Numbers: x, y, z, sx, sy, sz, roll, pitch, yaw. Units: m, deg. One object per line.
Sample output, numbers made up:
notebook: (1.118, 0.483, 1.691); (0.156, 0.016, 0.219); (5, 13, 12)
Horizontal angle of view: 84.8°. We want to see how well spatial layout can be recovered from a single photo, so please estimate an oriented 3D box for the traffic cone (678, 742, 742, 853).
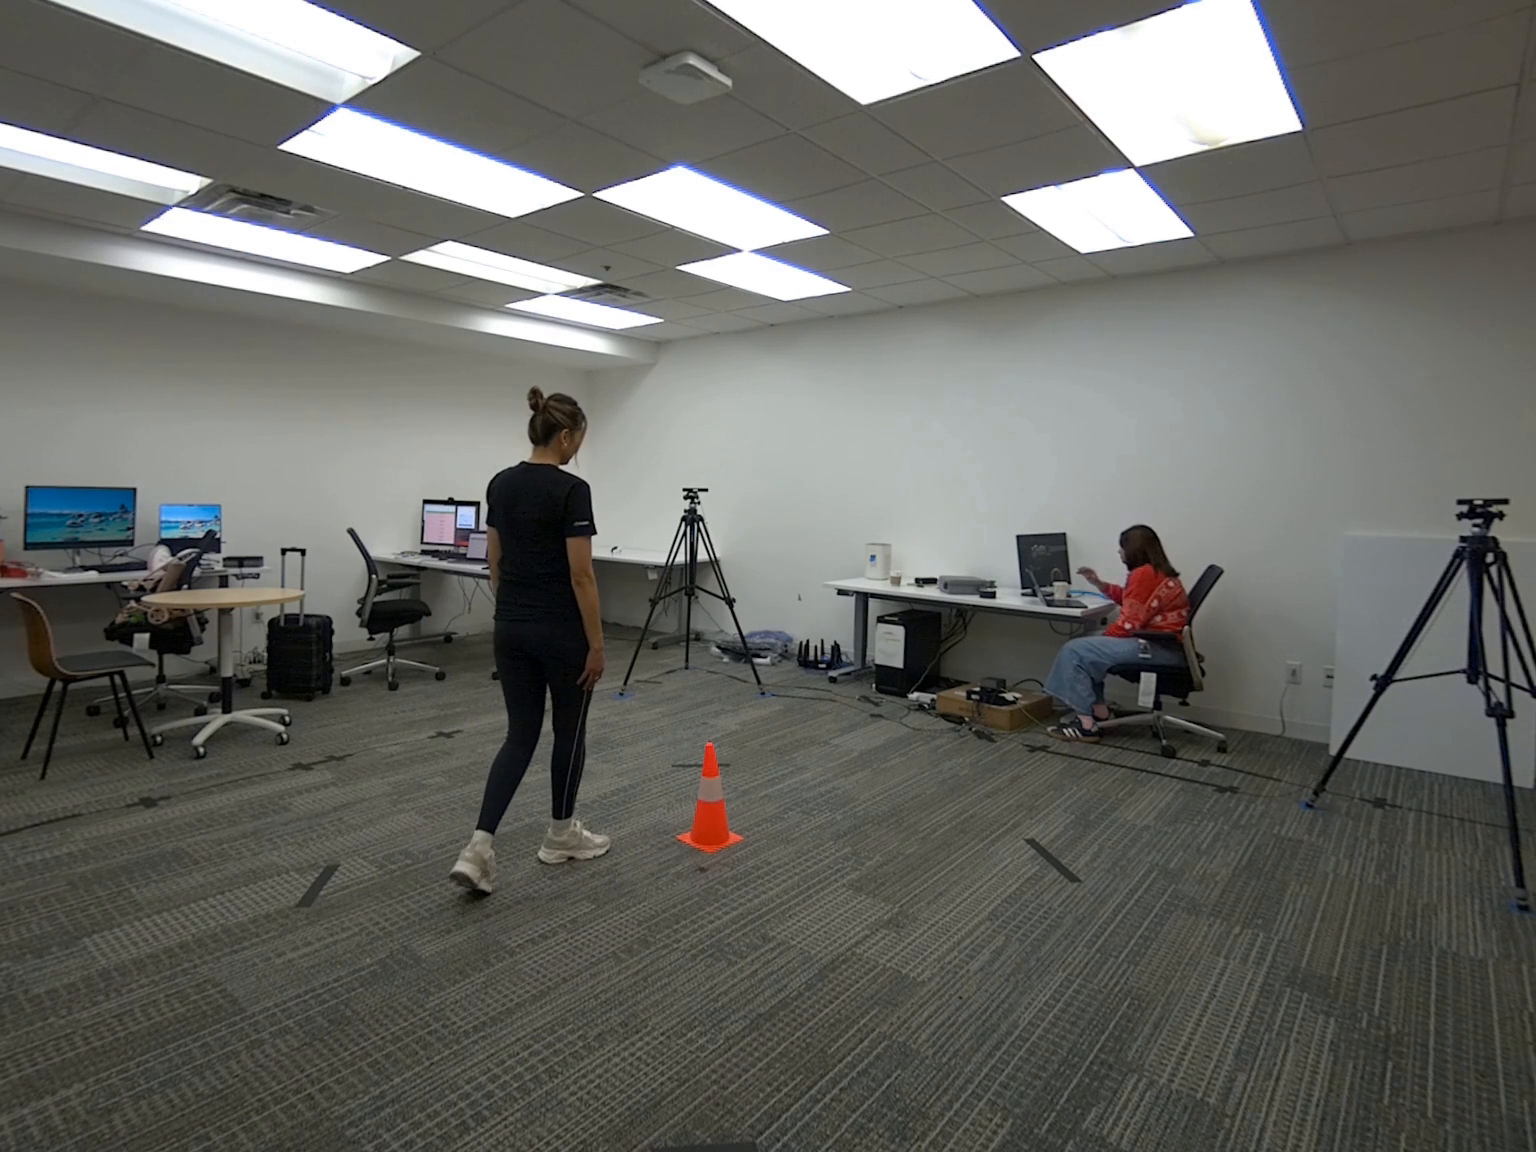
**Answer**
traffic cone: (-0.240, 0.857, 3.383); (0.210, 0.382, 0.199); (5, 4, 37)
